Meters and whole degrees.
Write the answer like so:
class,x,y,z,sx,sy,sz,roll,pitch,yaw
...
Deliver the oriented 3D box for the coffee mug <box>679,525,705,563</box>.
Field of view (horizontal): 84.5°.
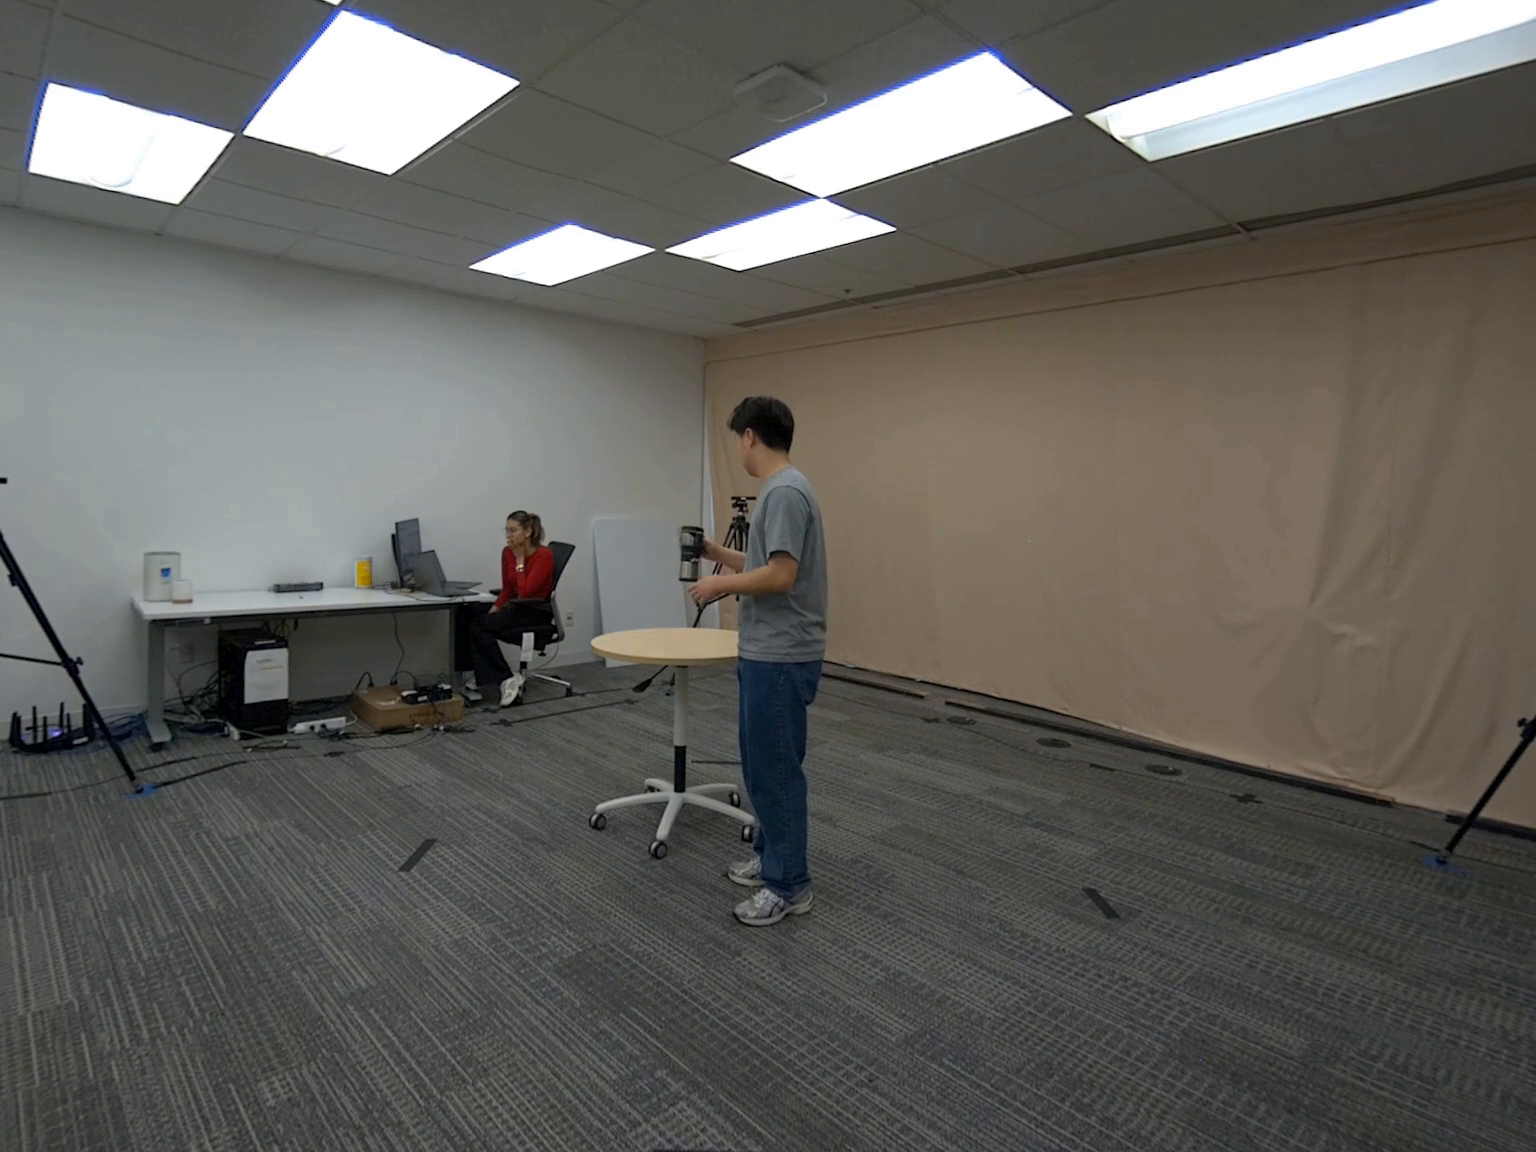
class,x,y,z,sx,sy,sz,roll,pitch,yaw
coffee mug,-0.276,-0.066,3.112,0.087,0.204,0.123,12,-11,-15
